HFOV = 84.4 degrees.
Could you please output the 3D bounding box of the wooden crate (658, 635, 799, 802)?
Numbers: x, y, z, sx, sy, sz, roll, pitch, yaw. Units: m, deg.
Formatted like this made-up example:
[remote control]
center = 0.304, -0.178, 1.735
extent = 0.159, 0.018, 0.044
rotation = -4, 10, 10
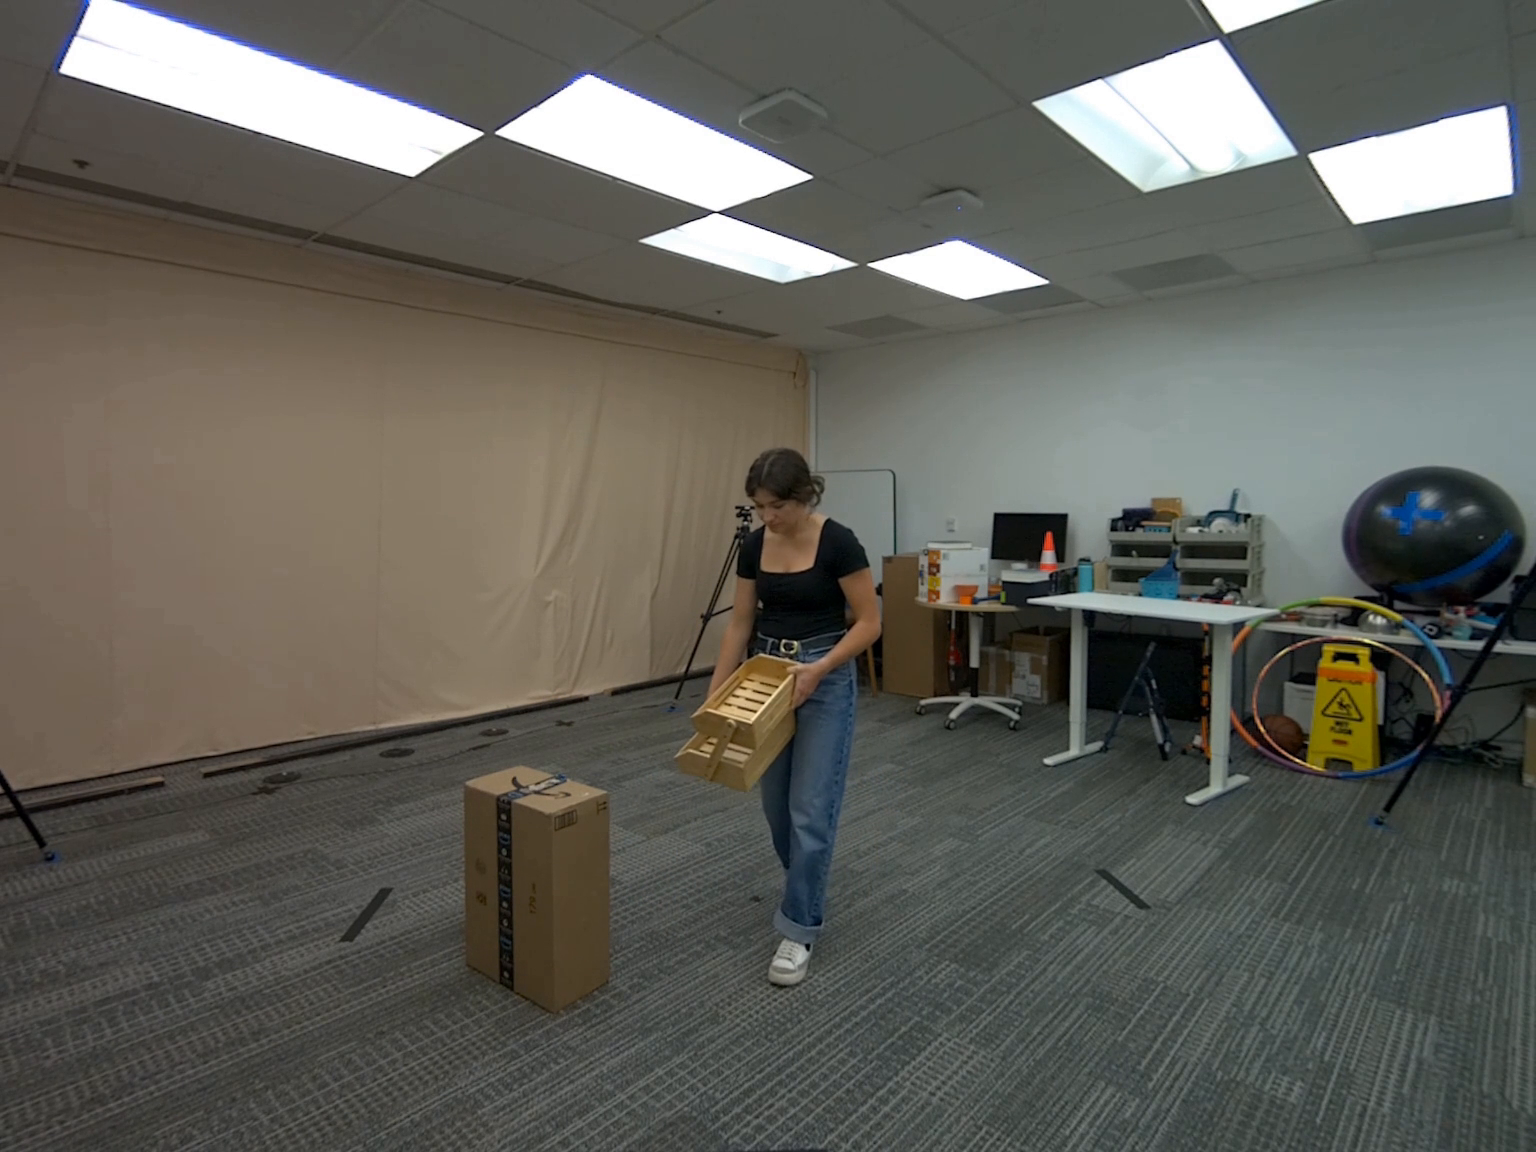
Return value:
[wooden crate]
center = -0.095, 0.401, 2.454
extent = 0.309, 0.268, 0.322
rotation = 10, 34, 22
